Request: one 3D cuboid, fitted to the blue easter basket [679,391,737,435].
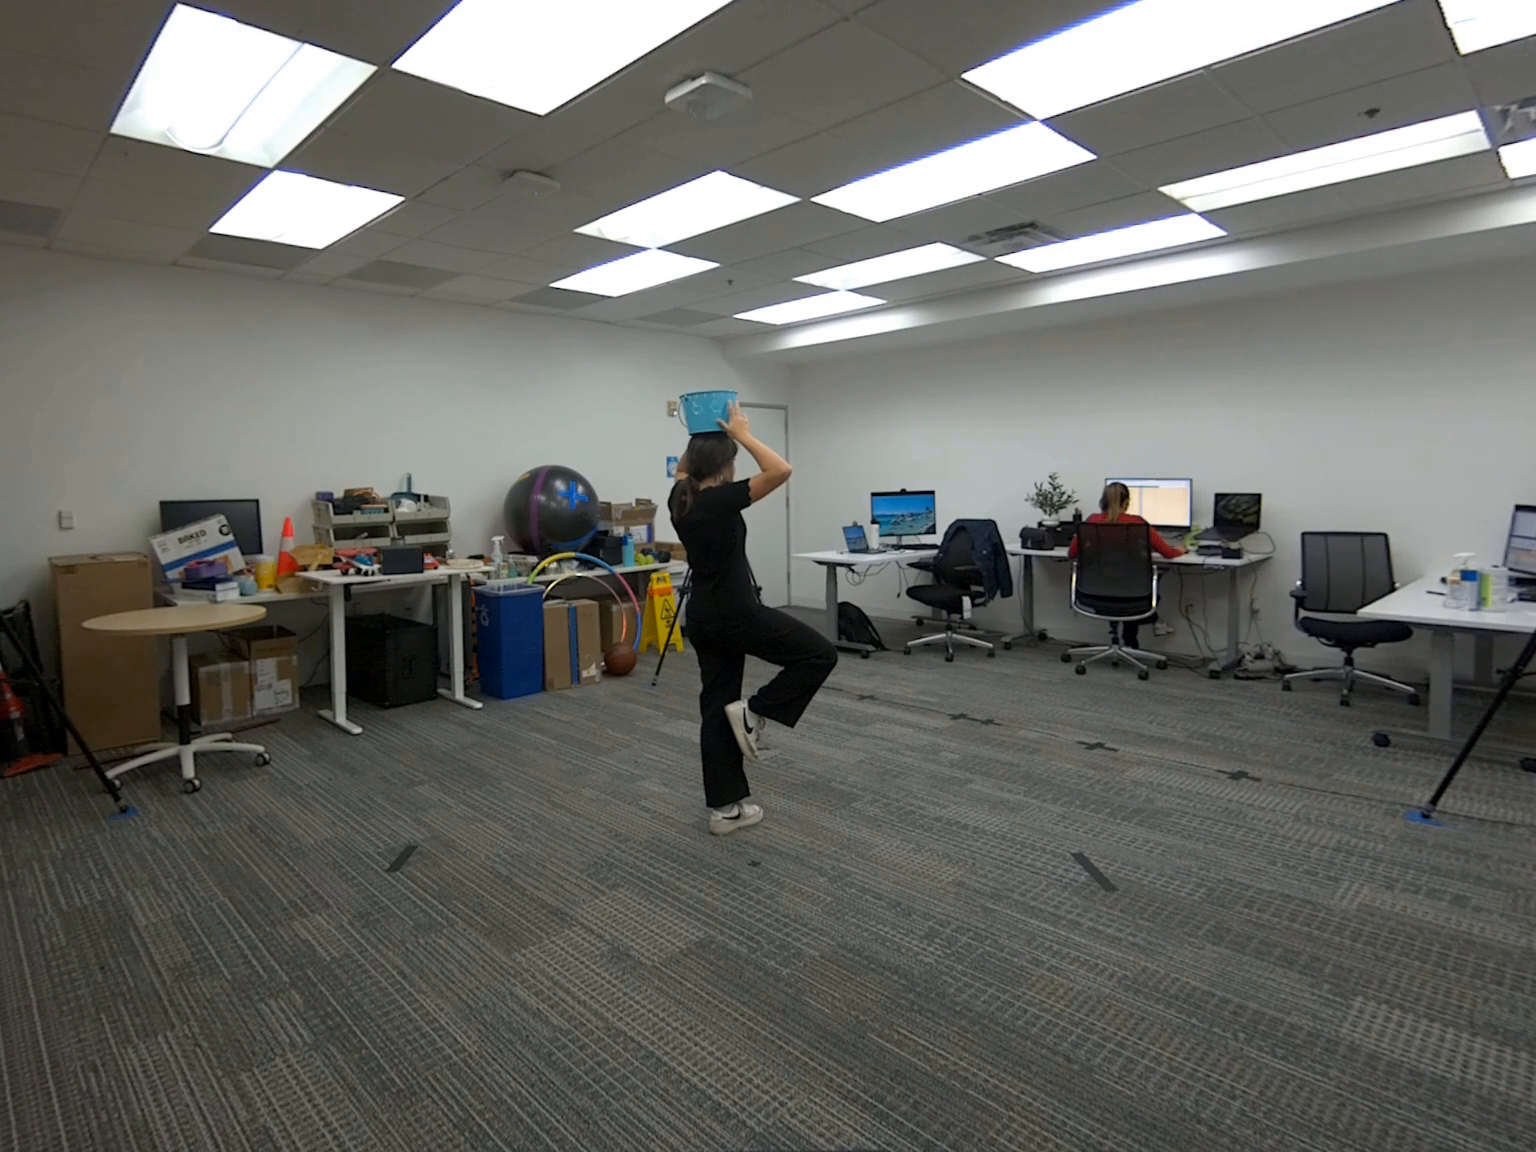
[{"bbox_3d":[-0.228,-0.639,3.370,0.243,0.155,0.244,-4,3,-2],"label":"blue easter basket"}]
